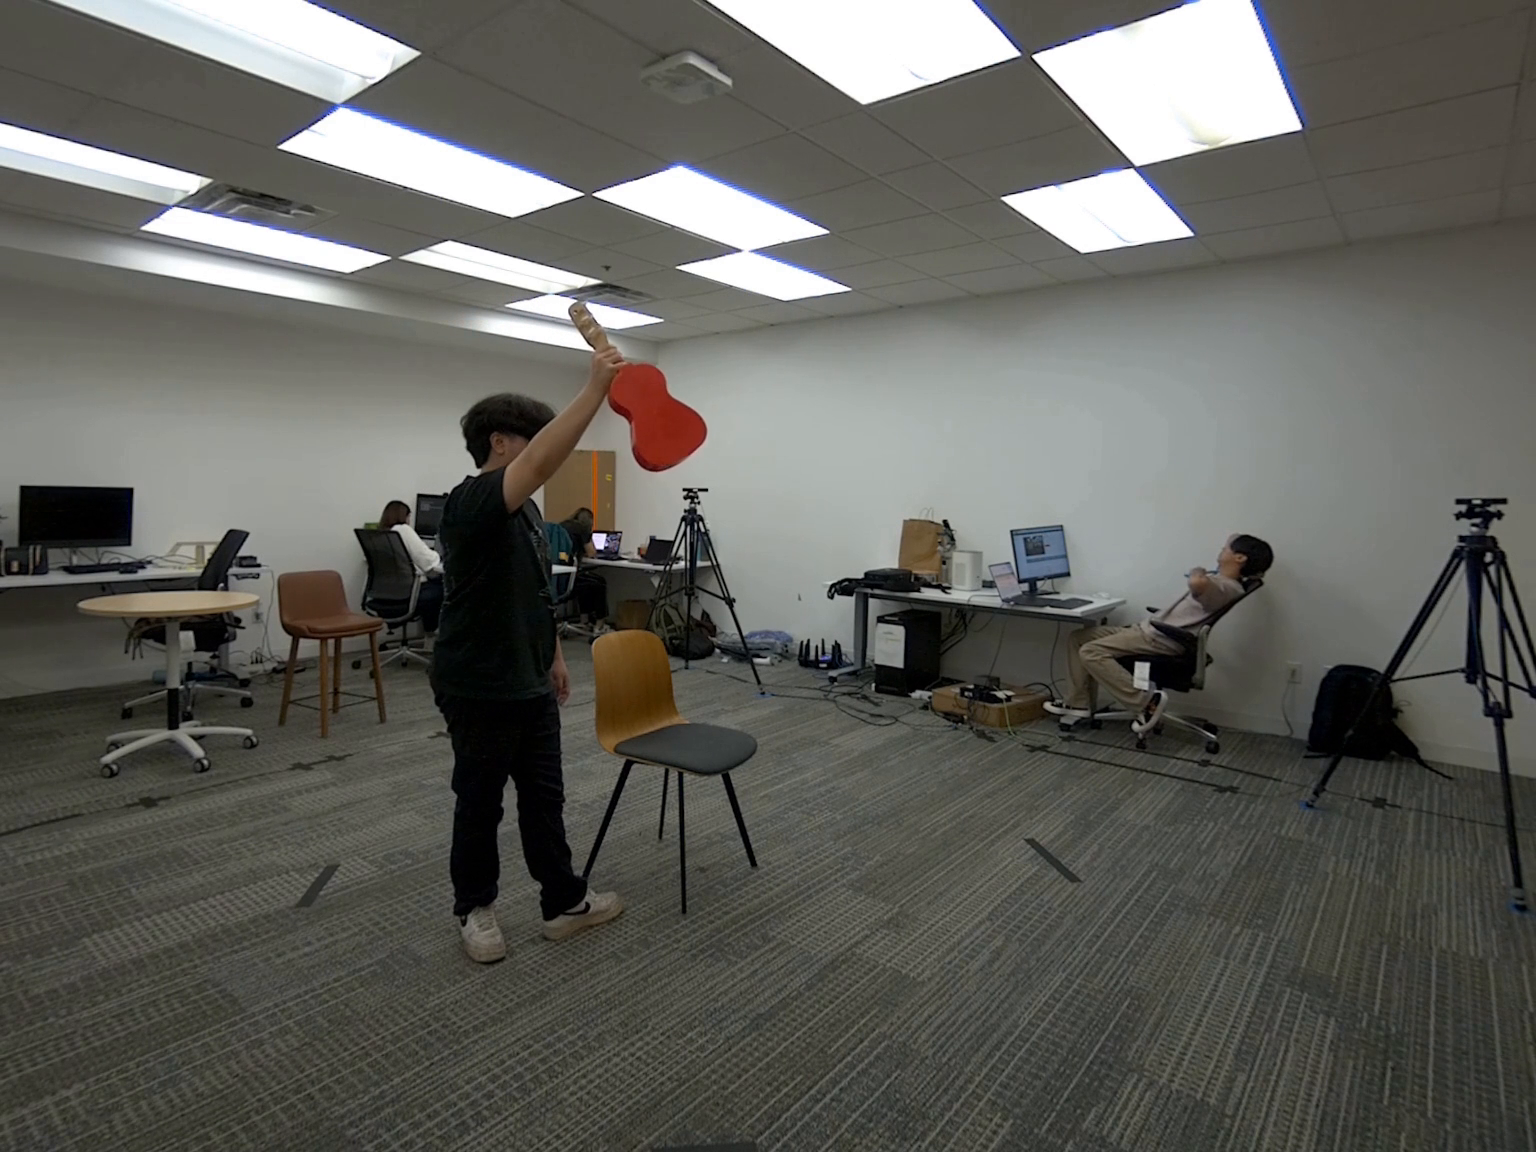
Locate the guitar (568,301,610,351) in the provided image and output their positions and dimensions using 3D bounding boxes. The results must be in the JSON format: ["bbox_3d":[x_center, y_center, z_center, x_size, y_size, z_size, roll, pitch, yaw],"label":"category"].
[{"bbox_3d":[-0.384,-0.484,2.147,0.192,0.498,0.071,-39,0,-23],"label":"guitar"}]
